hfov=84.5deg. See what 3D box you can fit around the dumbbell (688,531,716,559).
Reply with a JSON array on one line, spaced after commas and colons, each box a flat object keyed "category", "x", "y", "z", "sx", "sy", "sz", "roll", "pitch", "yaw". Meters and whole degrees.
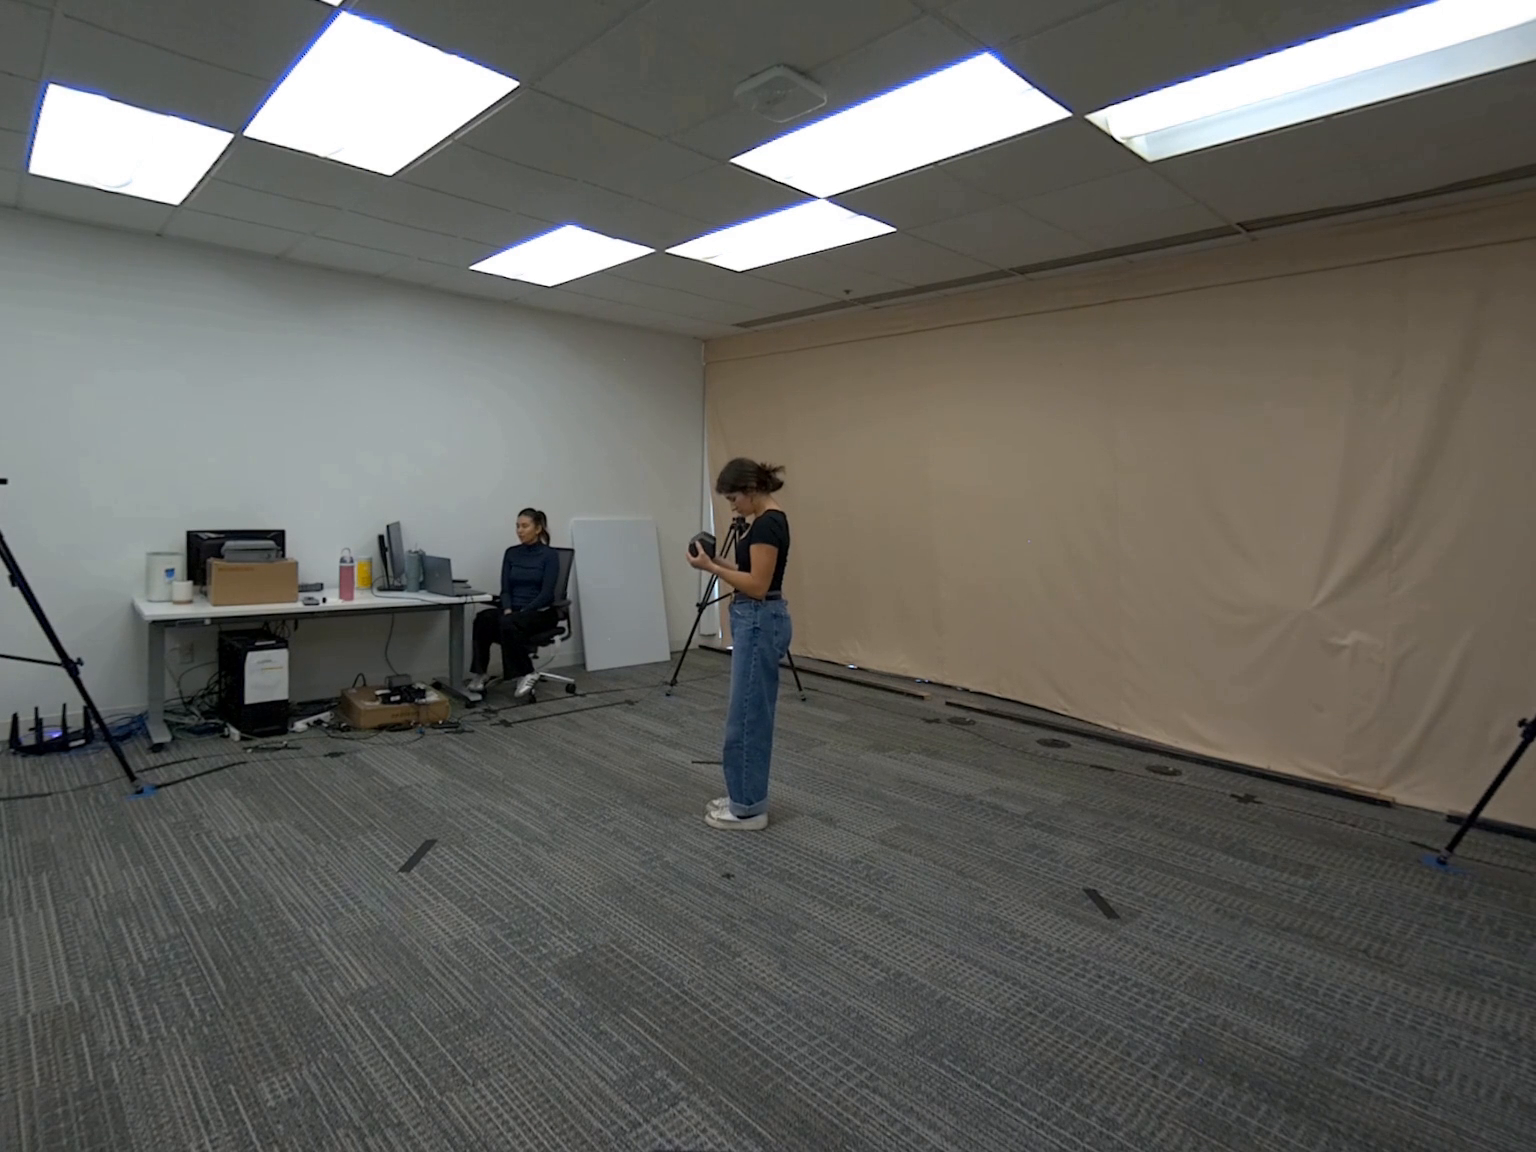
[{"category": "dumbbell", "x": -0.280, "y": -0.119, "z": 3.611, "sx": 0.109, "sy": 0.122, "sz": 0.294, "roll": -8, "pitch": 6, "yaw": 0}]
